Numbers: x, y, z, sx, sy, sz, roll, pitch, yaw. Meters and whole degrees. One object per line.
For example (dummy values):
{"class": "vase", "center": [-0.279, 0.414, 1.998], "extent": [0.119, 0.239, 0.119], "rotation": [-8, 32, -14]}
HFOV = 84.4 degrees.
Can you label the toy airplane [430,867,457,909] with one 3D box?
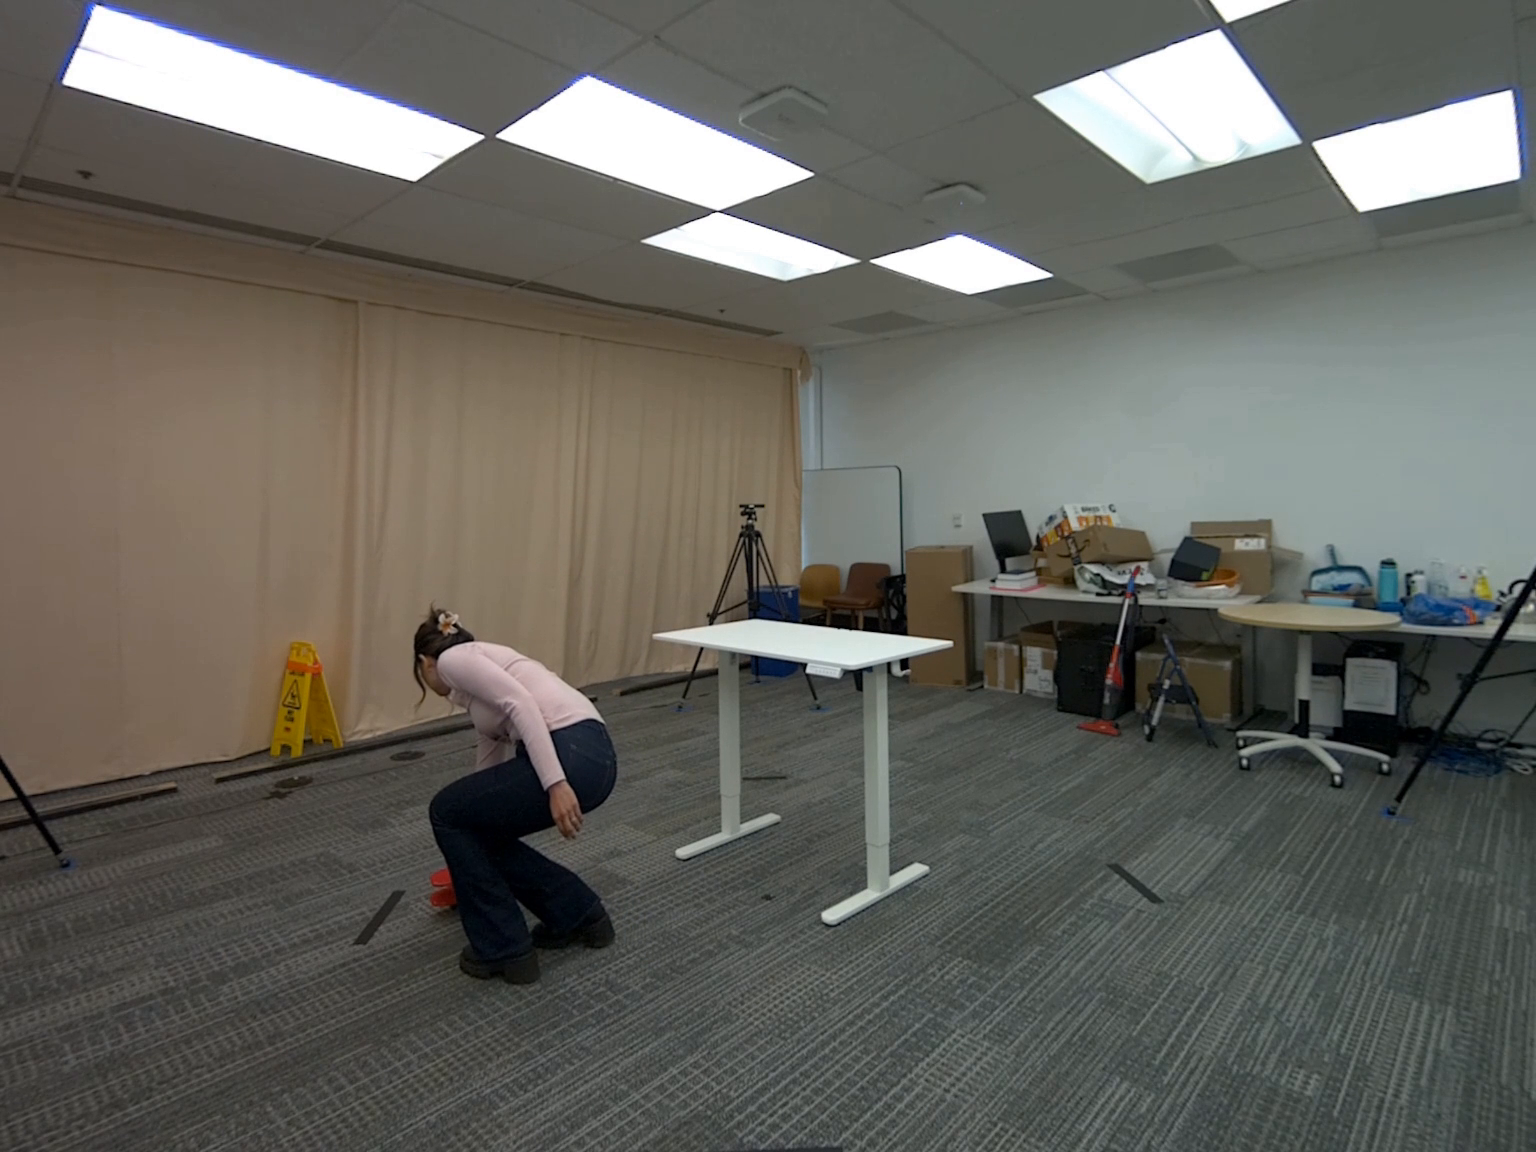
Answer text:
{"class": "toy airplane", "center": [-1.024, 1.095, 2.920], "extent": [0.266, 0.156, 0.244], "rotation": [-2, 3, 30]}
